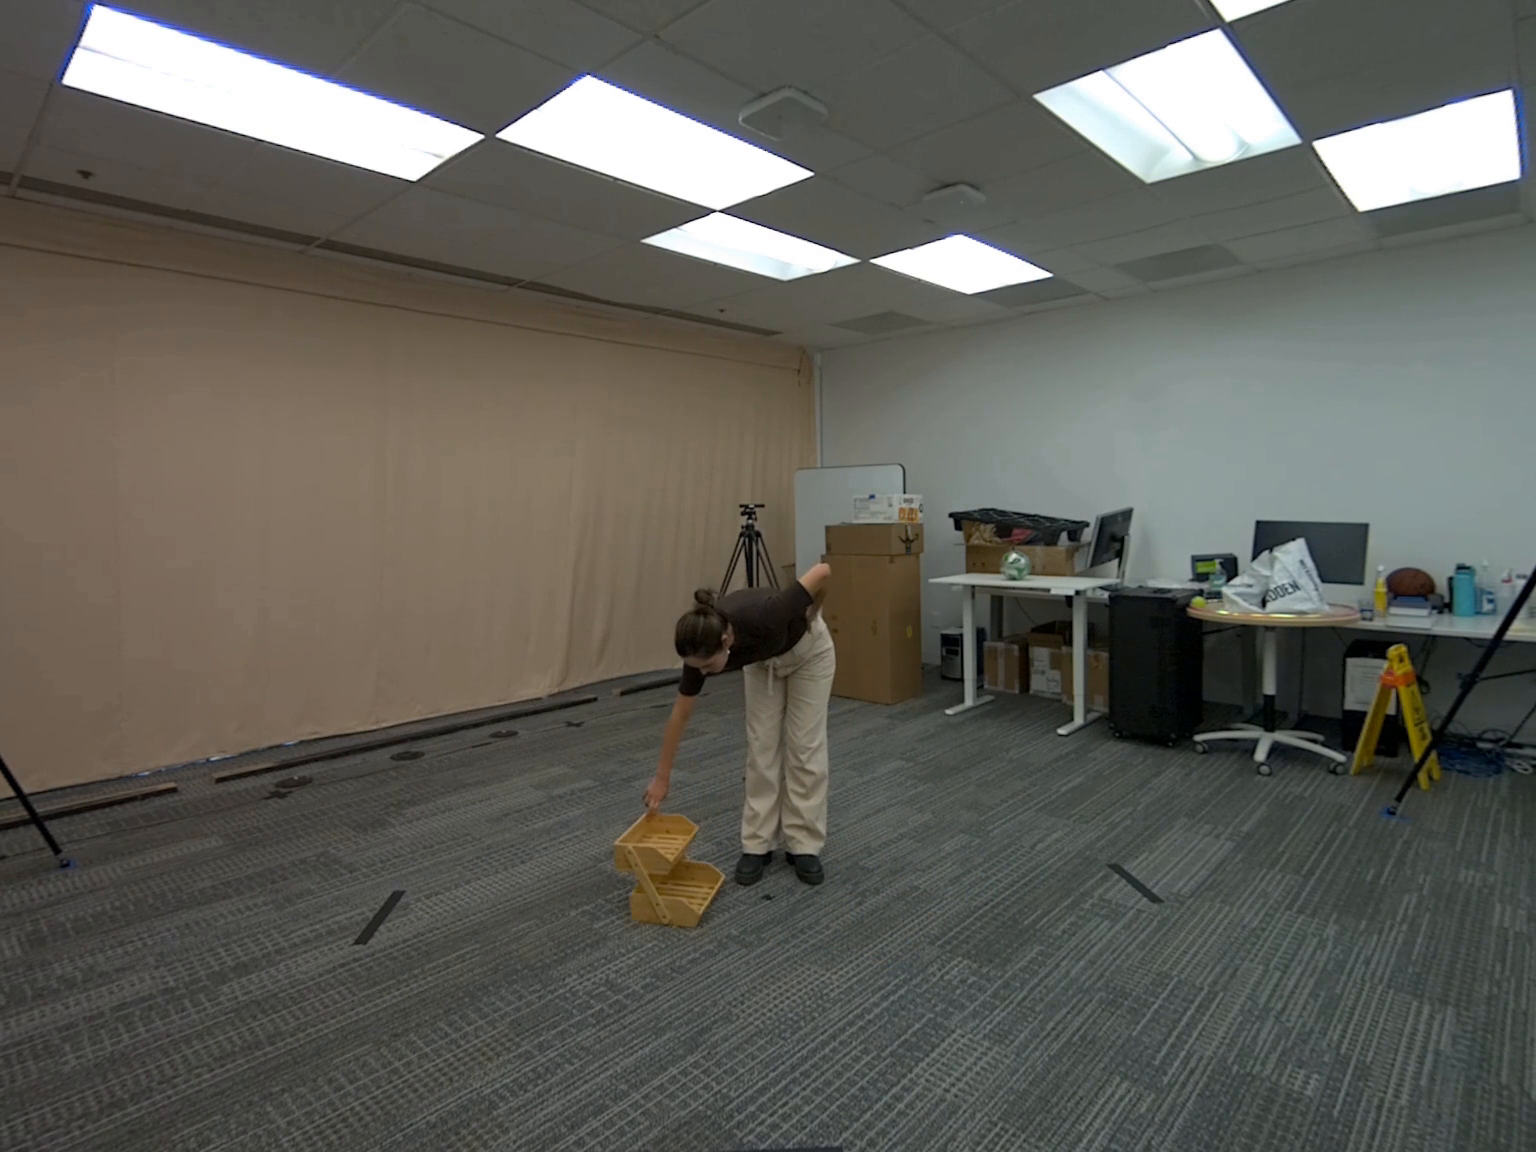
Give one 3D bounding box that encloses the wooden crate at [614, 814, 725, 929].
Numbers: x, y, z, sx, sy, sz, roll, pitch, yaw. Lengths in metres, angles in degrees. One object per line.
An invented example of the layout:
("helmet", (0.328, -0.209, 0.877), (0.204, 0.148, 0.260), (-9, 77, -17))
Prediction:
("wooden crate", (-0.329, 1.015, 2.946), (0.307, 0.273, 0.320), (-1, 3, 14))
